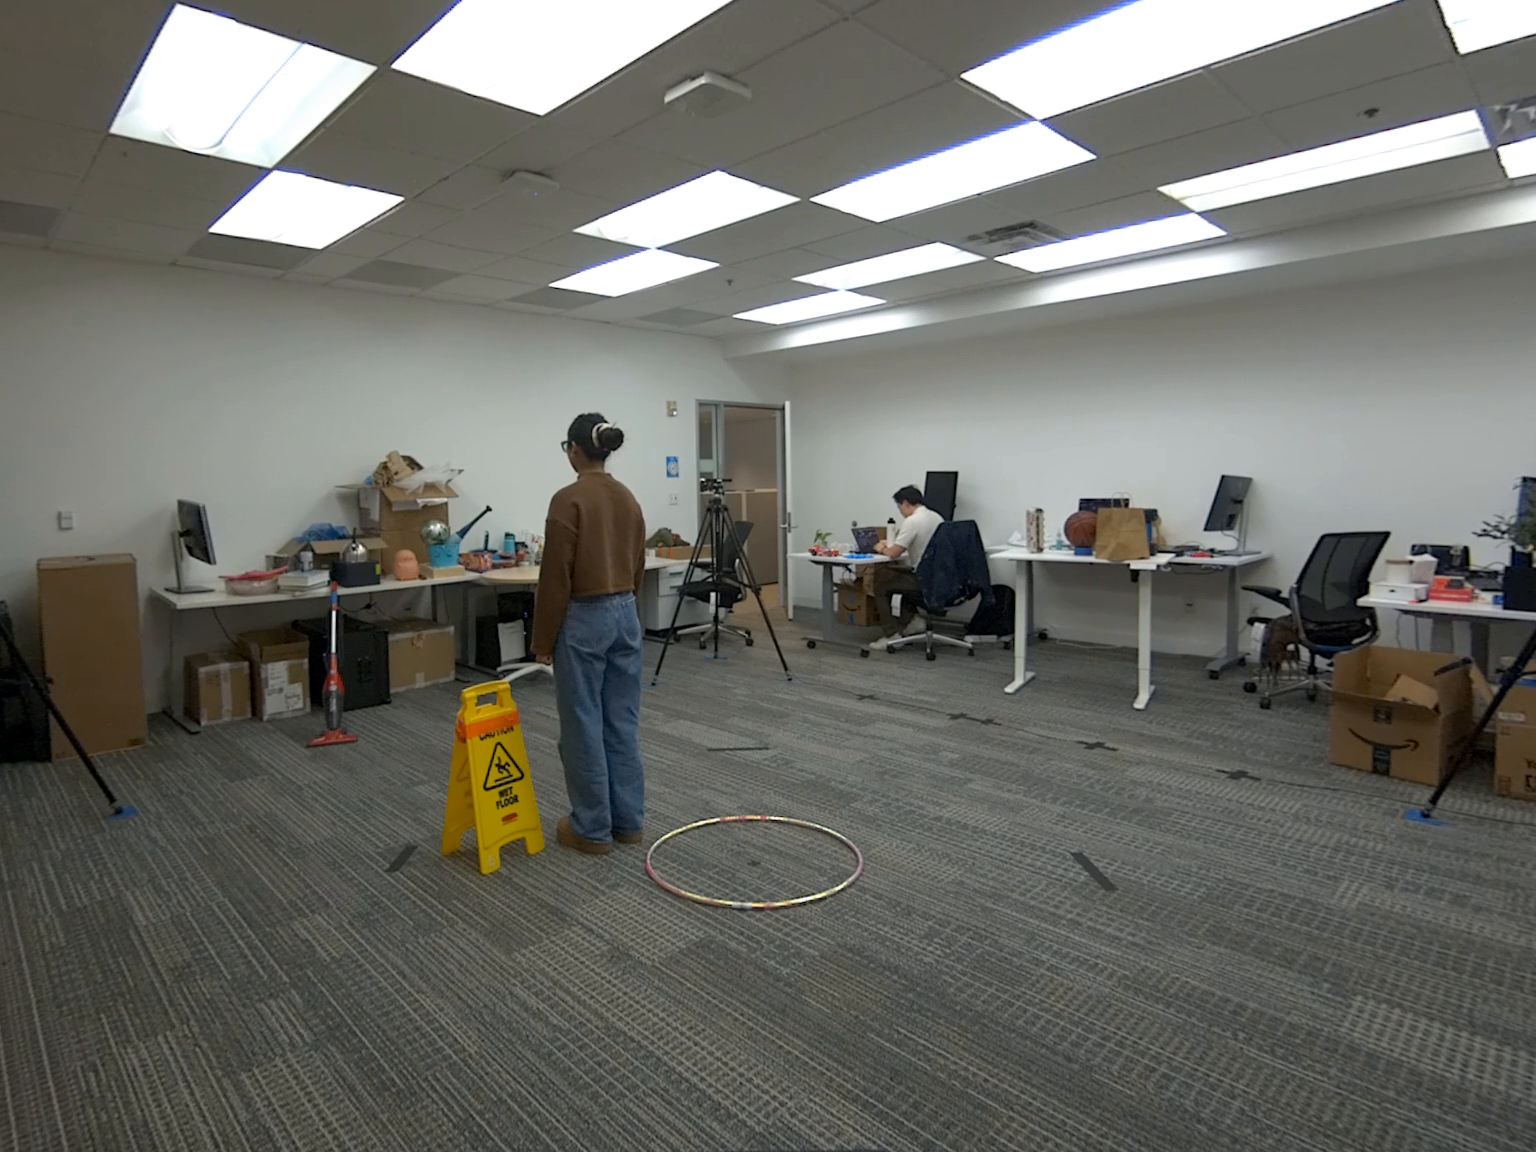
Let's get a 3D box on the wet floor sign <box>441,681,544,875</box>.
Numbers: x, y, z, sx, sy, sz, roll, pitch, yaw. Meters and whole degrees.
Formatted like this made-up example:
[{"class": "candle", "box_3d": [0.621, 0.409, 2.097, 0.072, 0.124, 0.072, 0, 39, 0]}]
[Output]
[{"class": "wet floor sign", "box_3d": [-1.055, 0.729, 3.224, 0.298, 0.644, 0.275, 2, 4, 39]}]
